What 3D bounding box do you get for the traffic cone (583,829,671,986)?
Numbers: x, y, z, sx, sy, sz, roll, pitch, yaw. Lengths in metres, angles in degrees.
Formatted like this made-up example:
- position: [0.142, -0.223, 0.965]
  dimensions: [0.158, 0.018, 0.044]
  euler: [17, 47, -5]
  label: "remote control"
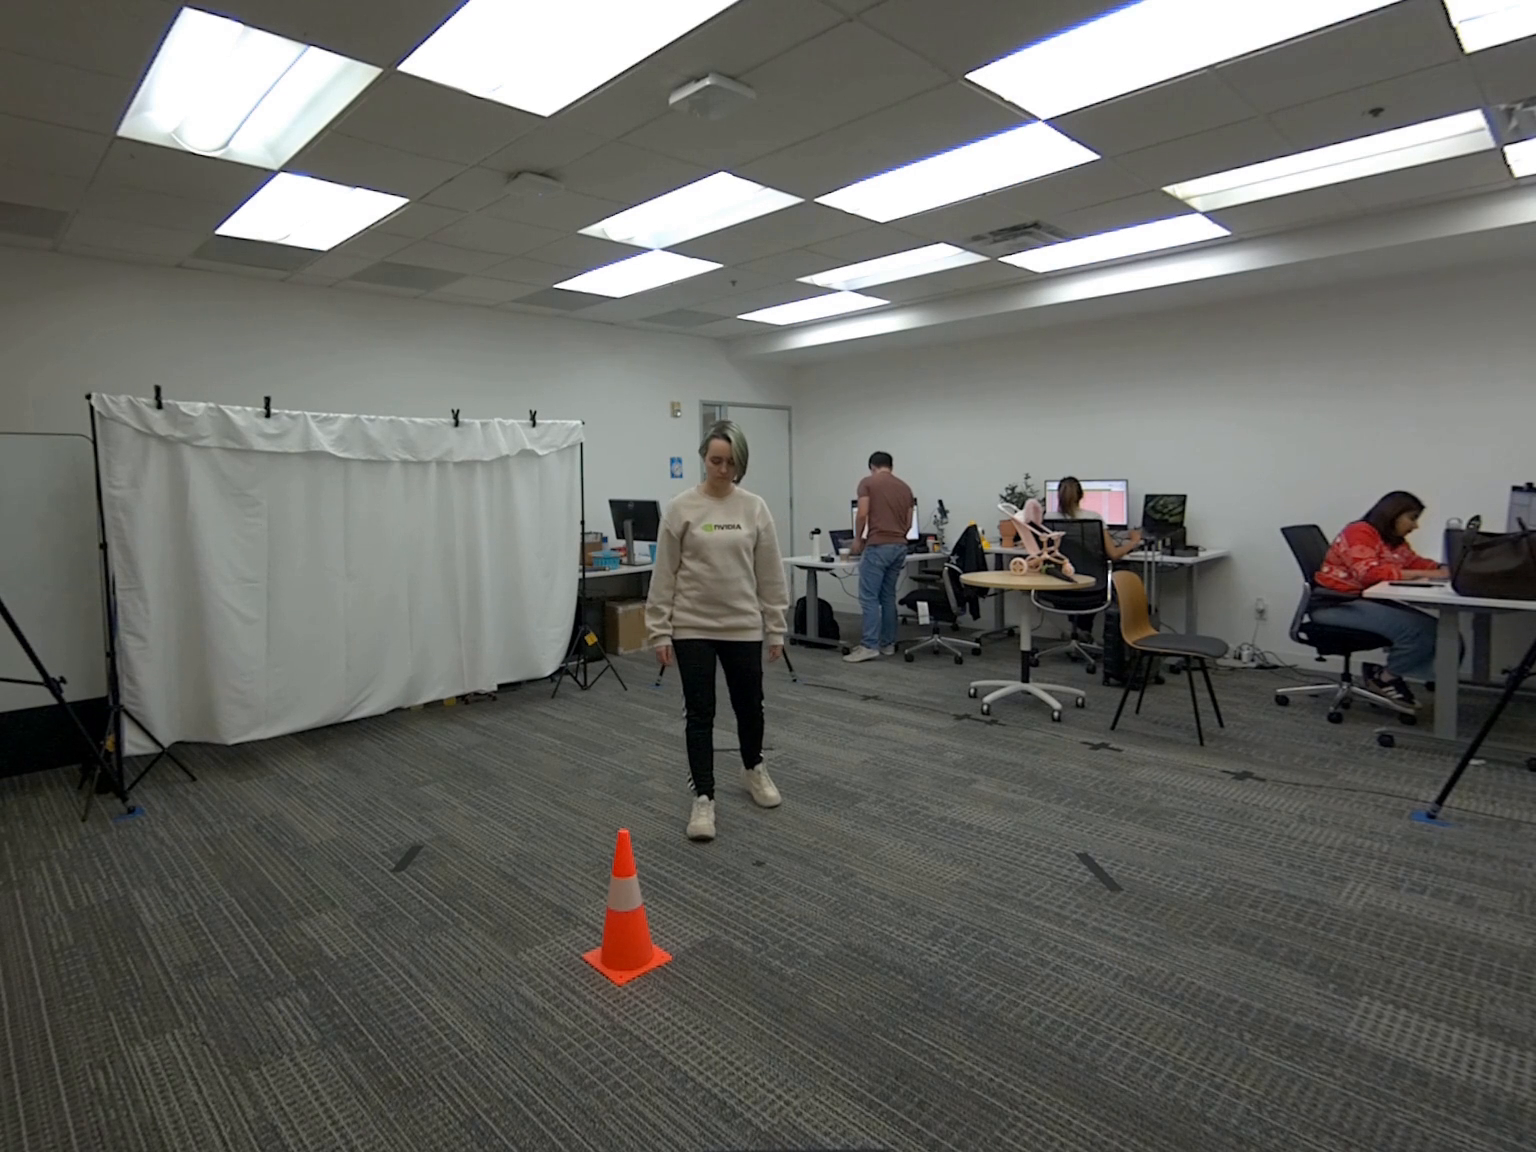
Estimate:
- position: [-0.421, 0.939, 2.510]
  dimensions: [0.198, 0.383, 0.210]
  euler: [-3, 3, -31]
  label: "traffic cone"
